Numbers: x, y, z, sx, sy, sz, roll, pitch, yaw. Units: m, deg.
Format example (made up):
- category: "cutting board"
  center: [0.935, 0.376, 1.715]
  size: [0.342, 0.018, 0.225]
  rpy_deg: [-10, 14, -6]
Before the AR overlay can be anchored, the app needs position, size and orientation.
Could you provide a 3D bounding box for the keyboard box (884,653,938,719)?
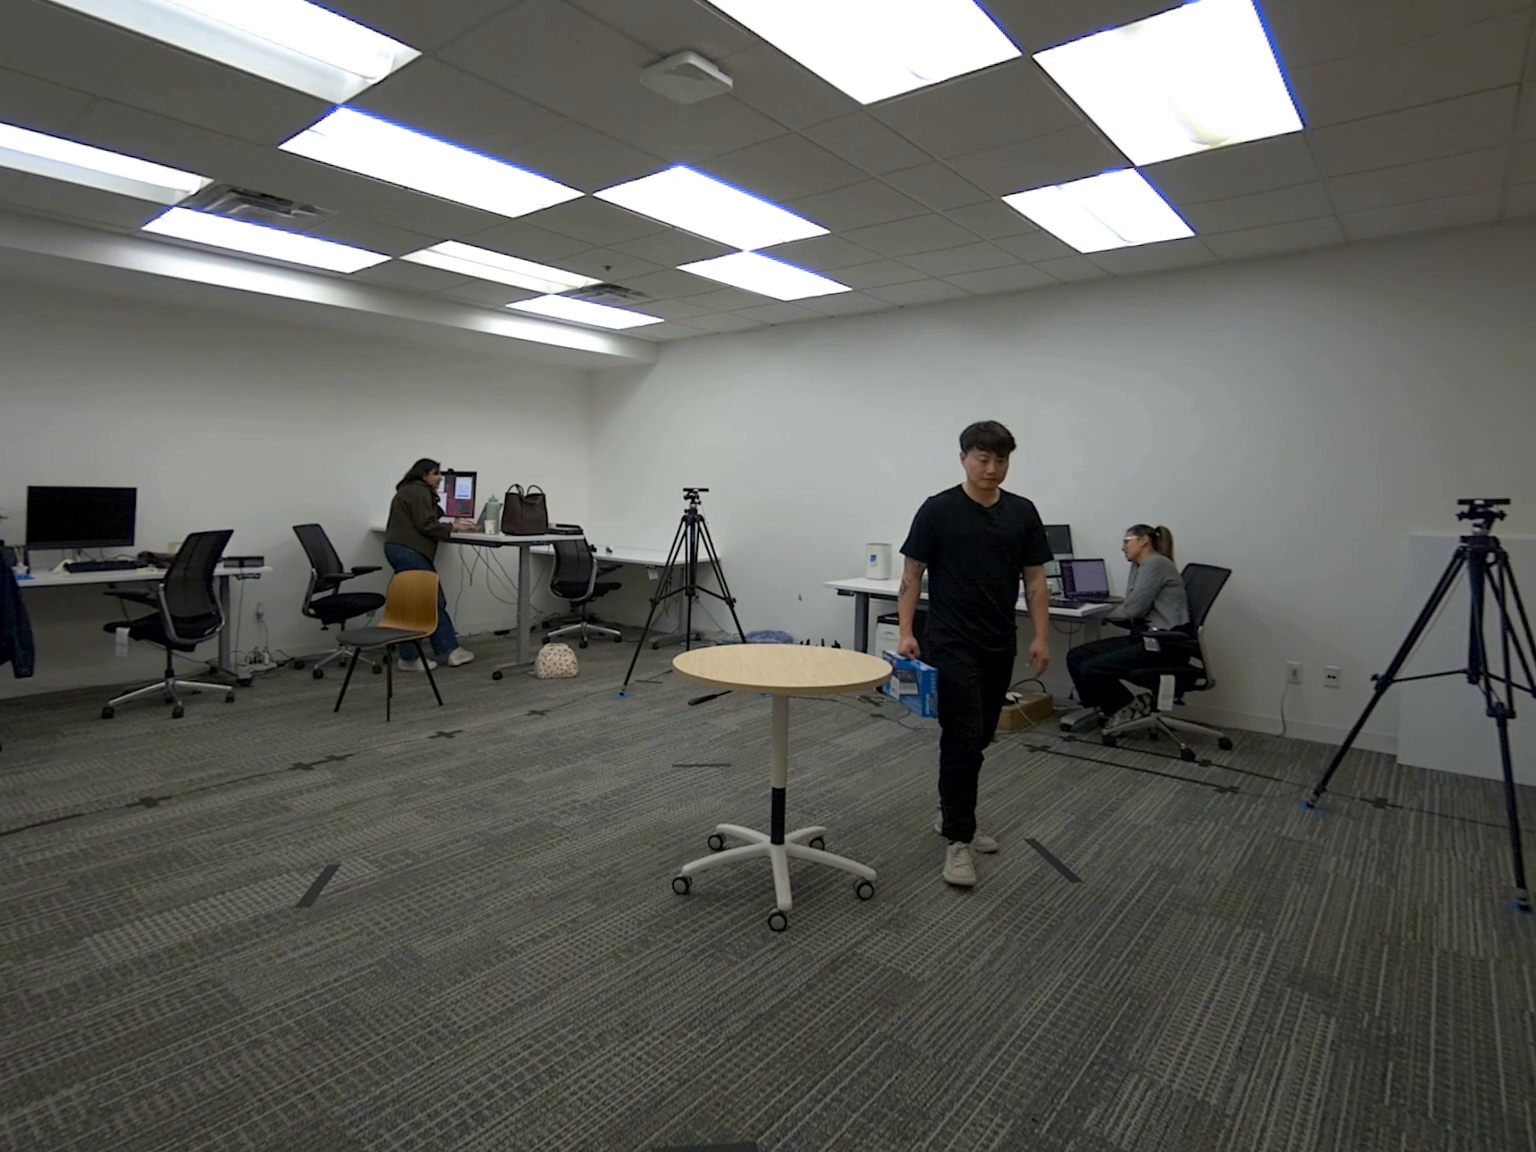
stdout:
- category: "keyboard box"
  center: [0.538, 0.405, 3.274]
  size: [0.058, 0.176, 0.442]
  rpy_deg: [0, 2, -12]
